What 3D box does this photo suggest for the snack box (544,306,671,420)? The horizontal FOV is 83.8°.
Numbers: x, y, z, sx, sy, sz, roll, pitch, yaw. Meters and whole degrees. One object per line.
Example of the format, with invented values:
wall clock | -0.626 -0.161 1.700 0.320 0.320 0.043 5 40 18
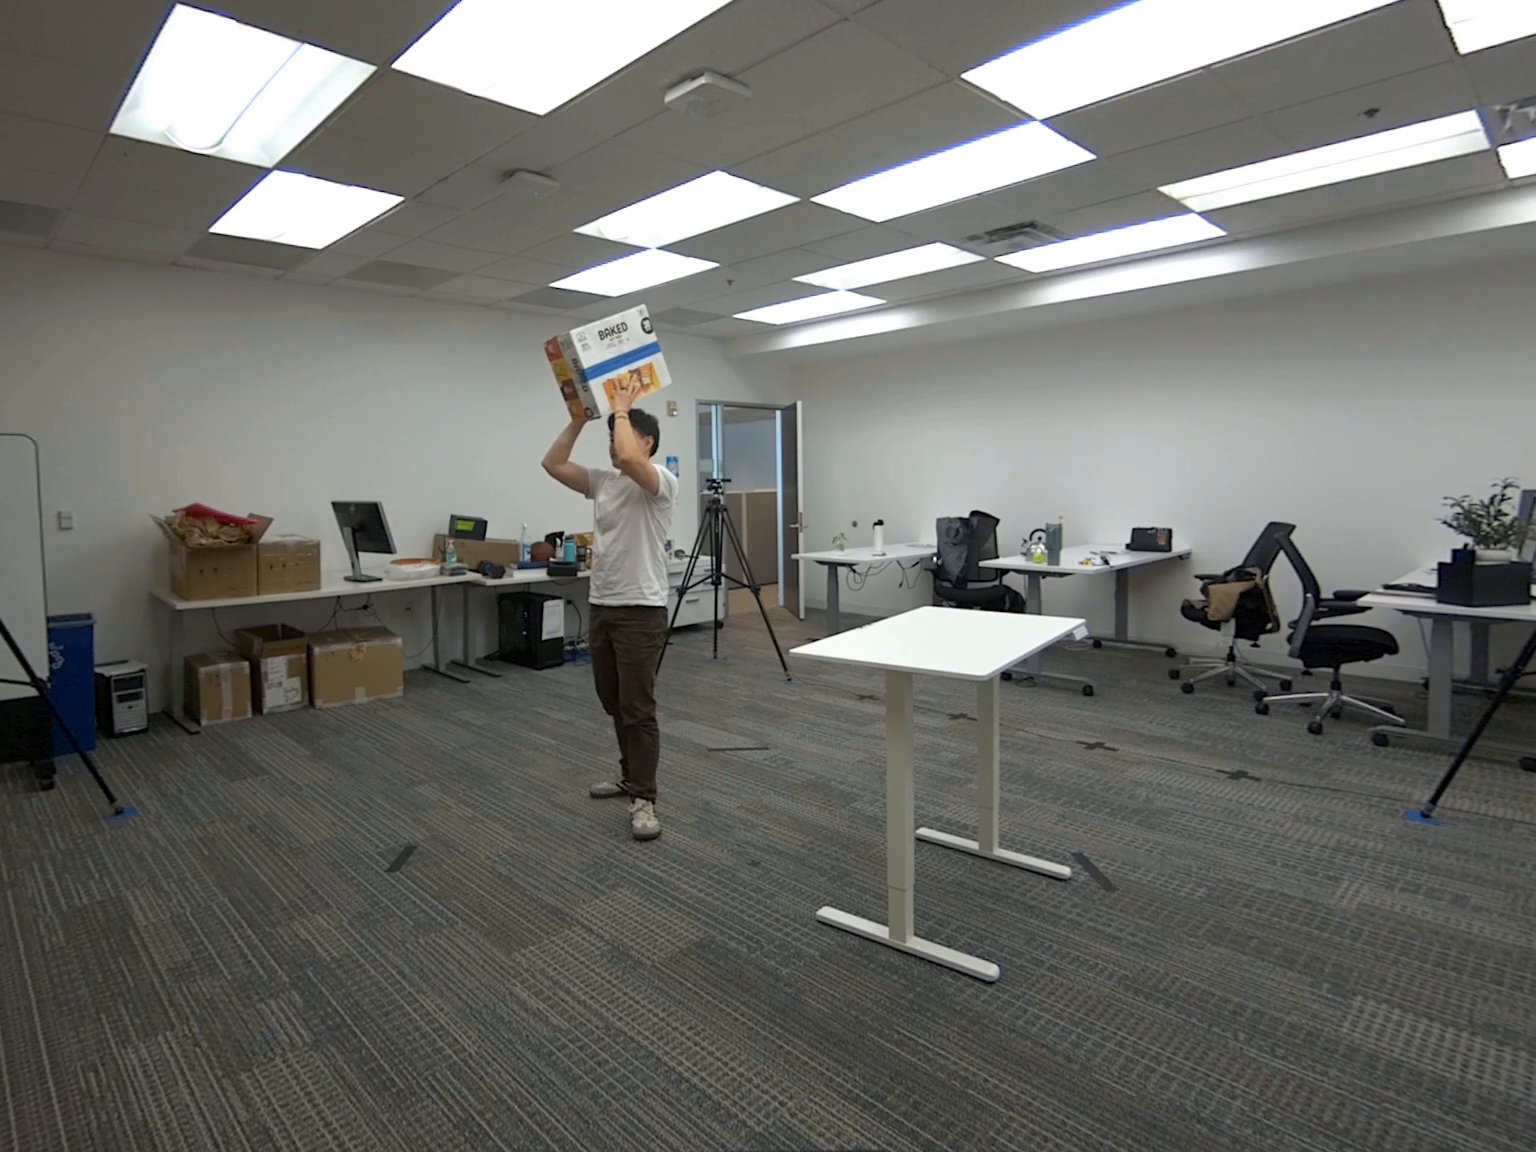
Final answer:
snack box | -0.648 -0.865 3.481 0.211 0.334 0.401 0 26 46
